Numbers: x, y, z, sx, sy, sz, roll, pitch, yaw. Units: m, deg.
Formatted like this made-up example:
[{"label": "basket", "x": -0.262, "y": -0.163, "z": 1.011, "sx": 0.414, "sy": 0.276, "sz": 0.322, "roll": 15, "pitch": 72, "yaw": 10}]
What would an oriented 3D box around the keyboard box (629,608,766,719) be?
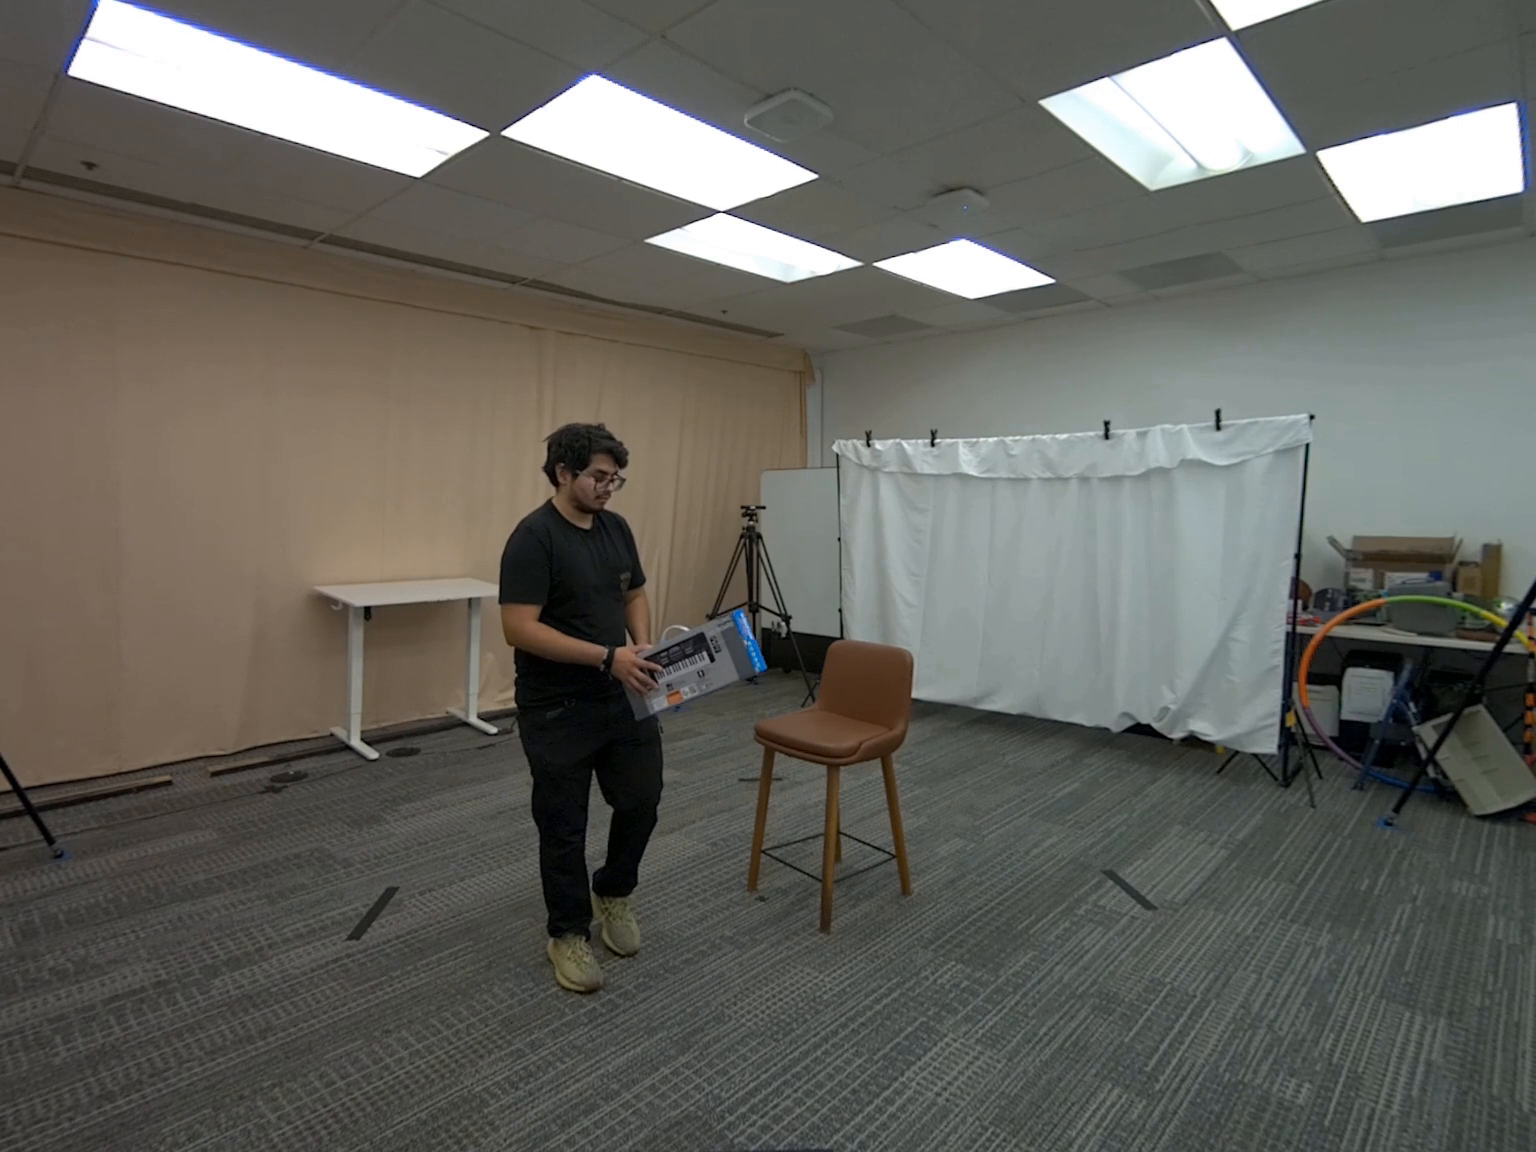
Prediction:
[{"label": "keyboard box", "x": -0.216, "y": 0.252, "z": 2.288, "sx": 0.445, "sy": 0.177, "sz": 0.058, "roll": -26, "pitch": -7, "yaw": 30}]
